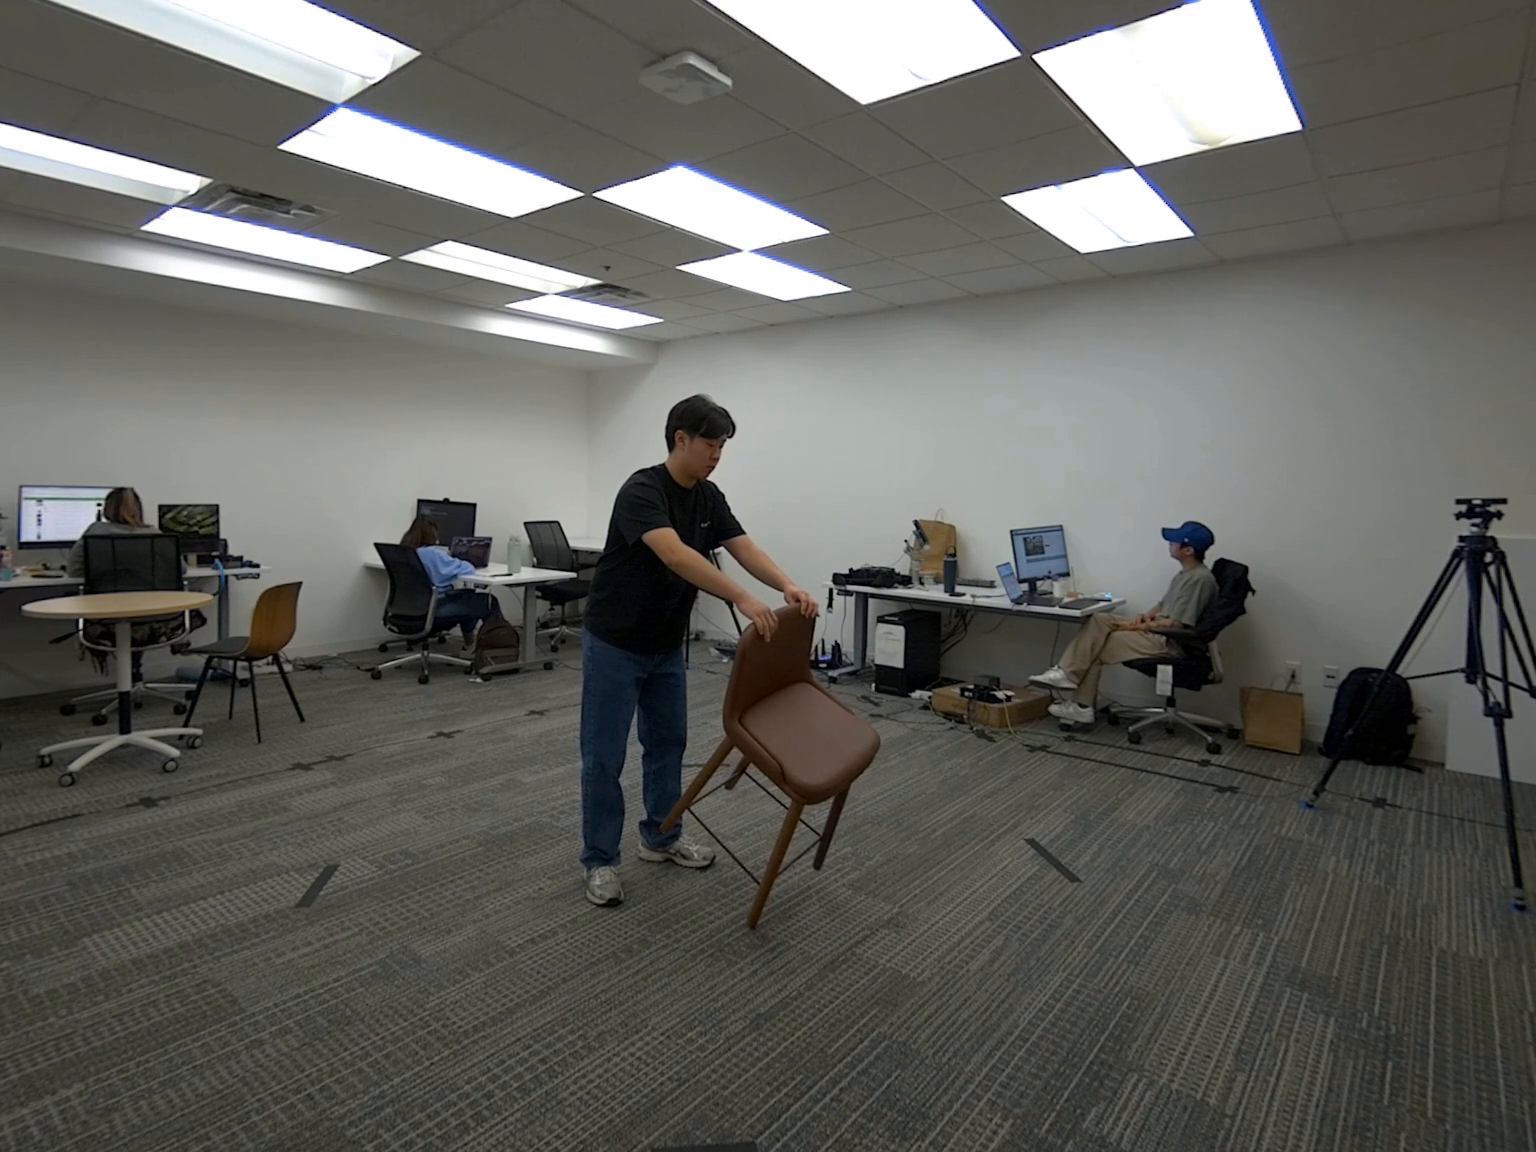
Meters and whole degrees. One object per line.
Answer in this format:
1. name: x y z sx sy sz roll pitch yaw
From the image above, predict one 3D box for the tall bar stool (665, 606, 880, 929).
1. tall bar stool: 0.039 0.594 2.740 0.484 0.878 0.446 35 31 27
